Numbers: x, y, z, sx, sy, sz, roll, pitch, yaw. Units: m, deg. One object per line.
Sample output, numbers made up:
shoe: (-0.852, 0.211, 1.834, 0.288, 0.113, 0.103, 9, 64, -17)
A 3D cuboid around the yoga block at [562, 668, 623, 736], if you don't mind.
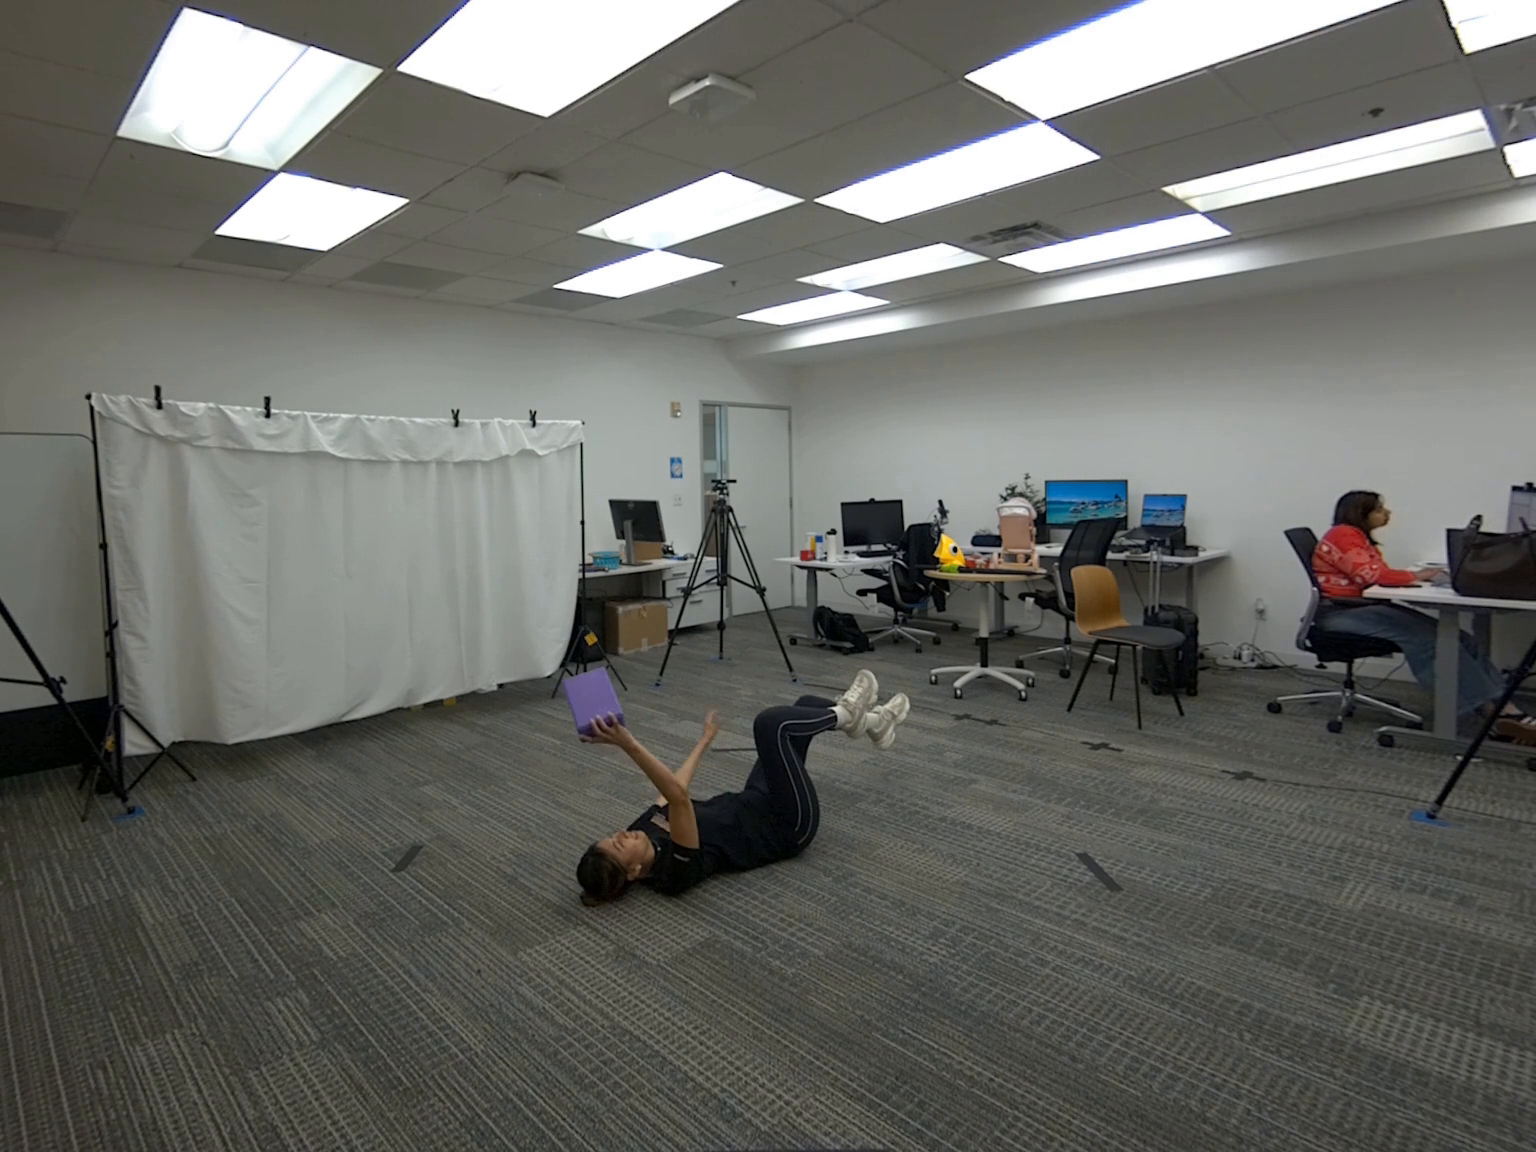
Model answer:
yoga block: (-0.556, 0.406, 2.743, 0.148, 0.074, 0.238, -16, 42, -12)
